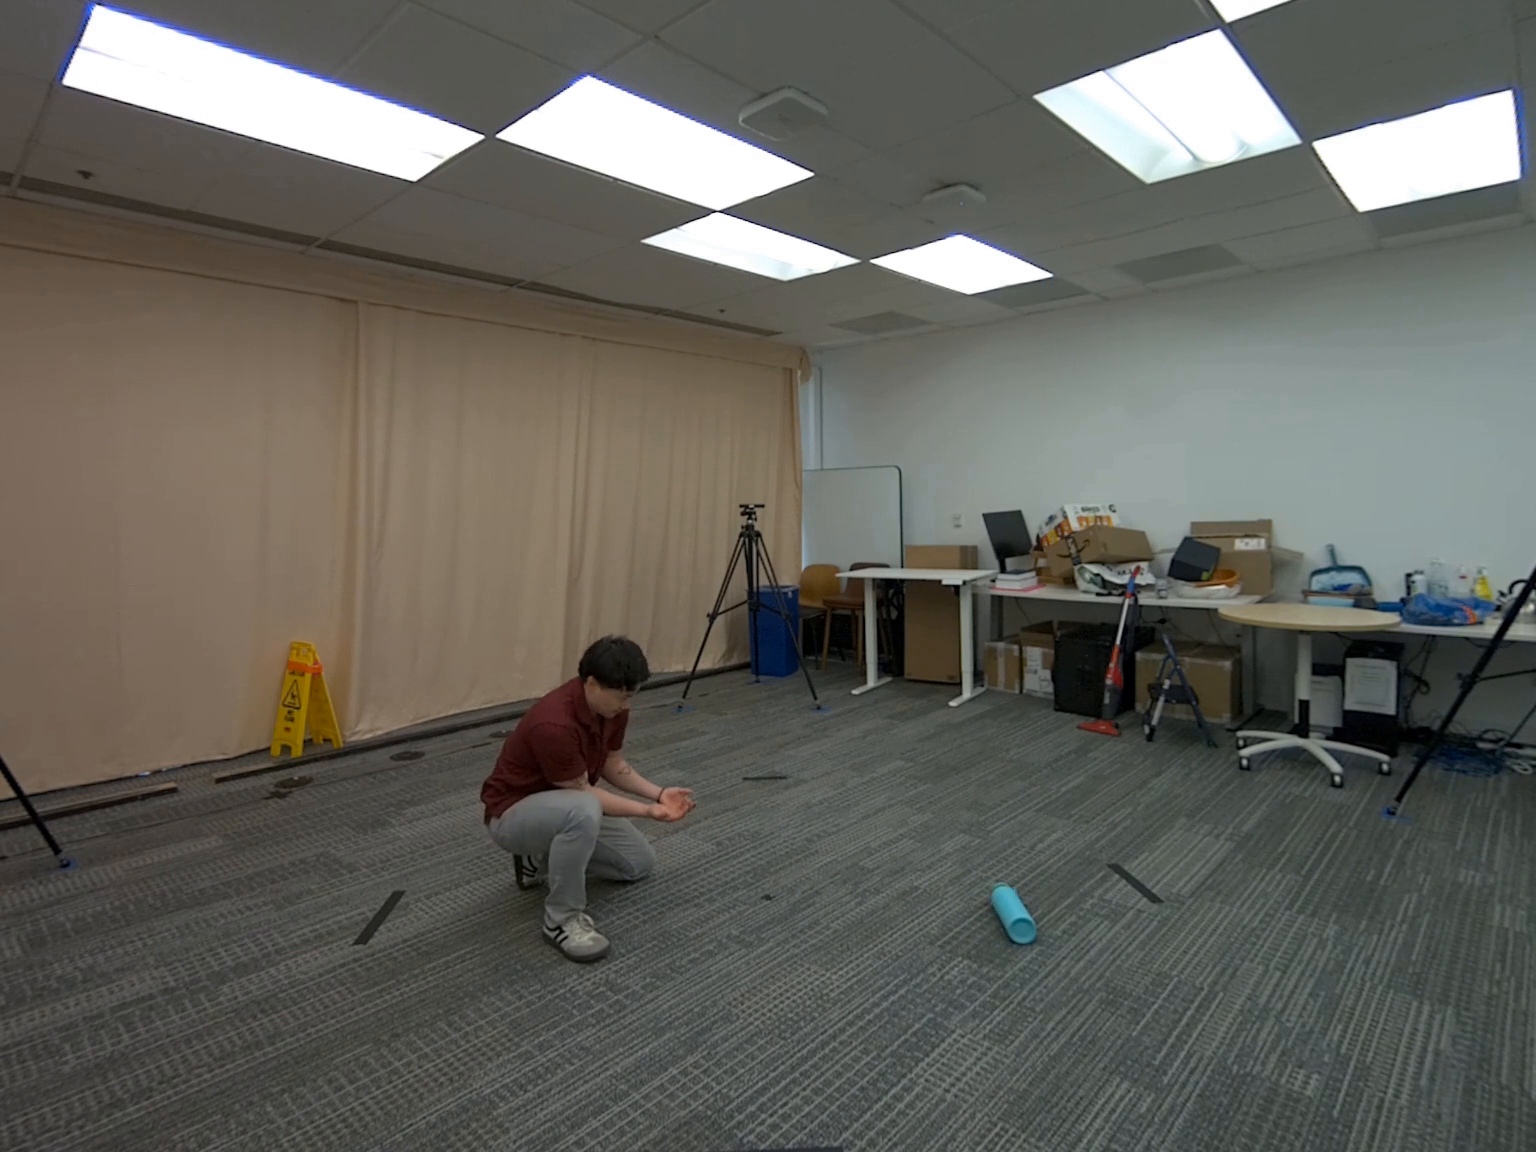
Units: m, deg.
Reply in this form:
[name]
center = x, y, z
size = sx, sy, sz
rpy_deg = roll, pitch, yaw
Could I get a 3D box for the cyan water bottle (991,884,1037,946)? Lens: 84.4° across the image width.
[cyan water bottle]
center = 0.804, 1.100, 2.762
size = 0.093, 0.092, 0.282
rpy_deg = -1, 4, 3
